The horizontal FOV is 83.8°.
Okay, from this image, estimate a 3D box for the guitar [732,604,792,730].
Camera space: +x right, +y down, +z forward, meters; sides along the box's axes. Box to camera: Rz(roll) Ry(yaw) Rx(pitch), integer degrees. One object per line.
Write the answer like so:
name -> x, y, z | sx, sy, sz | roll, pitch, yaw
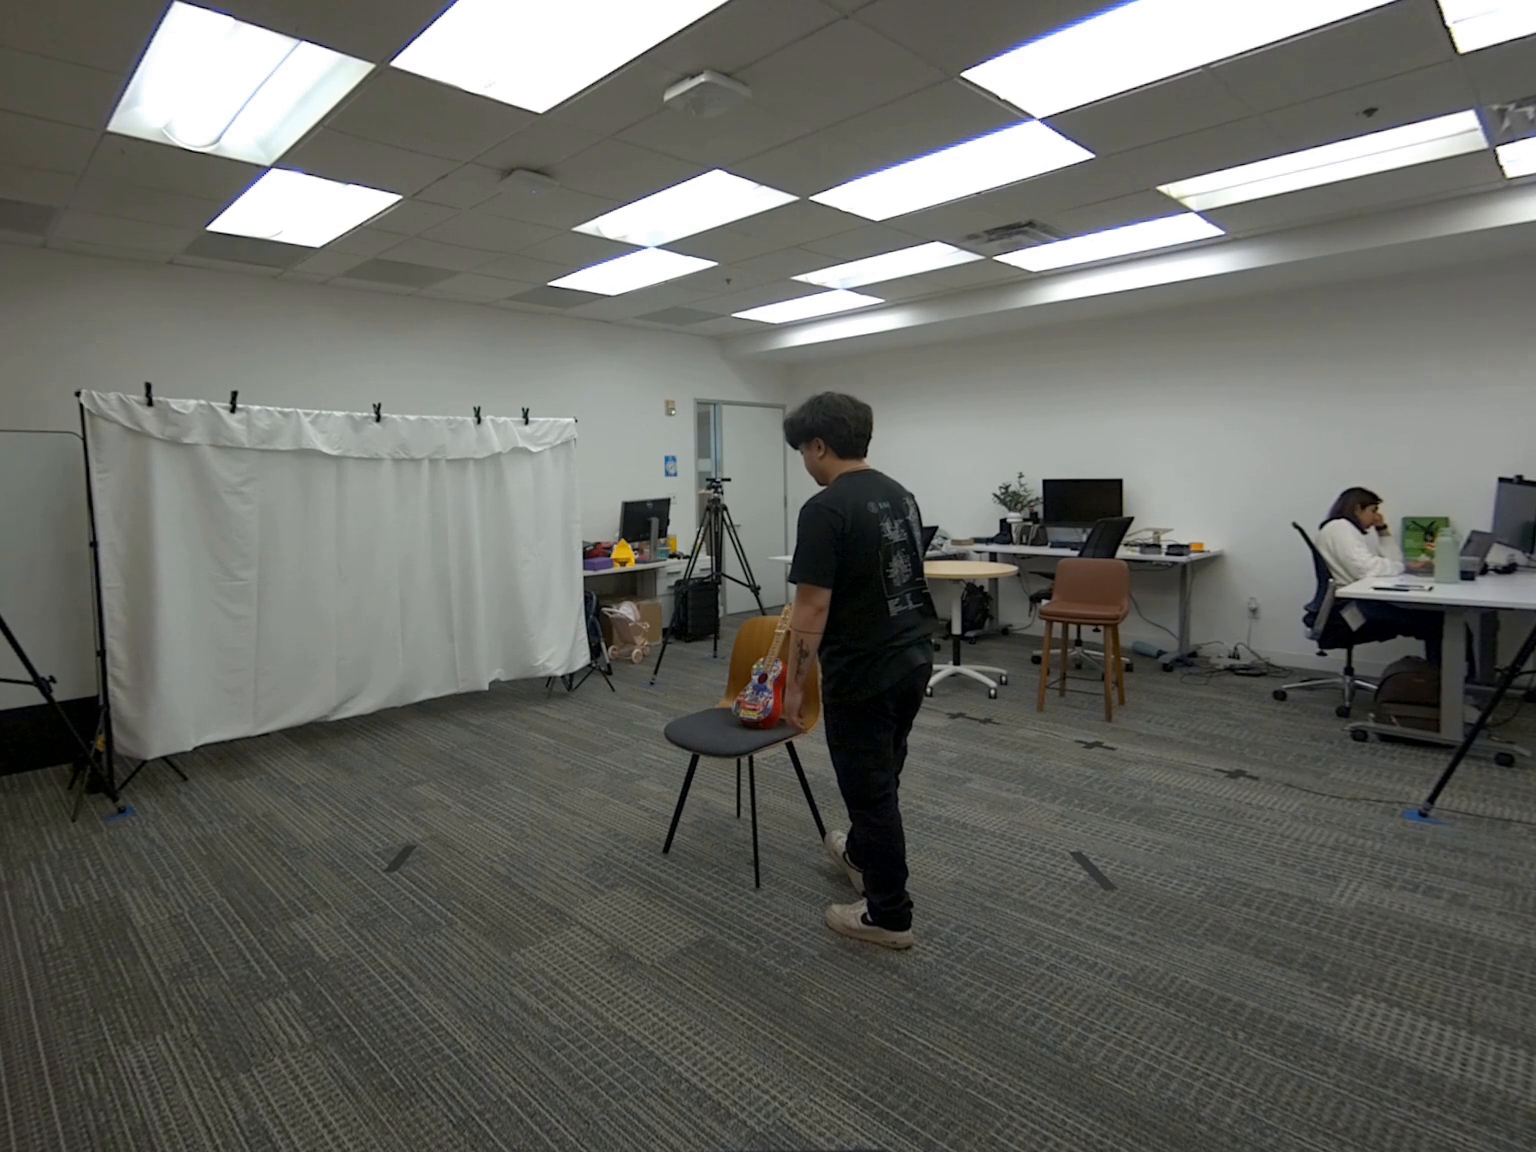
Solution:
guitar -> 0.029, 0.337, 3.240 | 0.199, 0.501, 0.068 | 6, -27, 44
